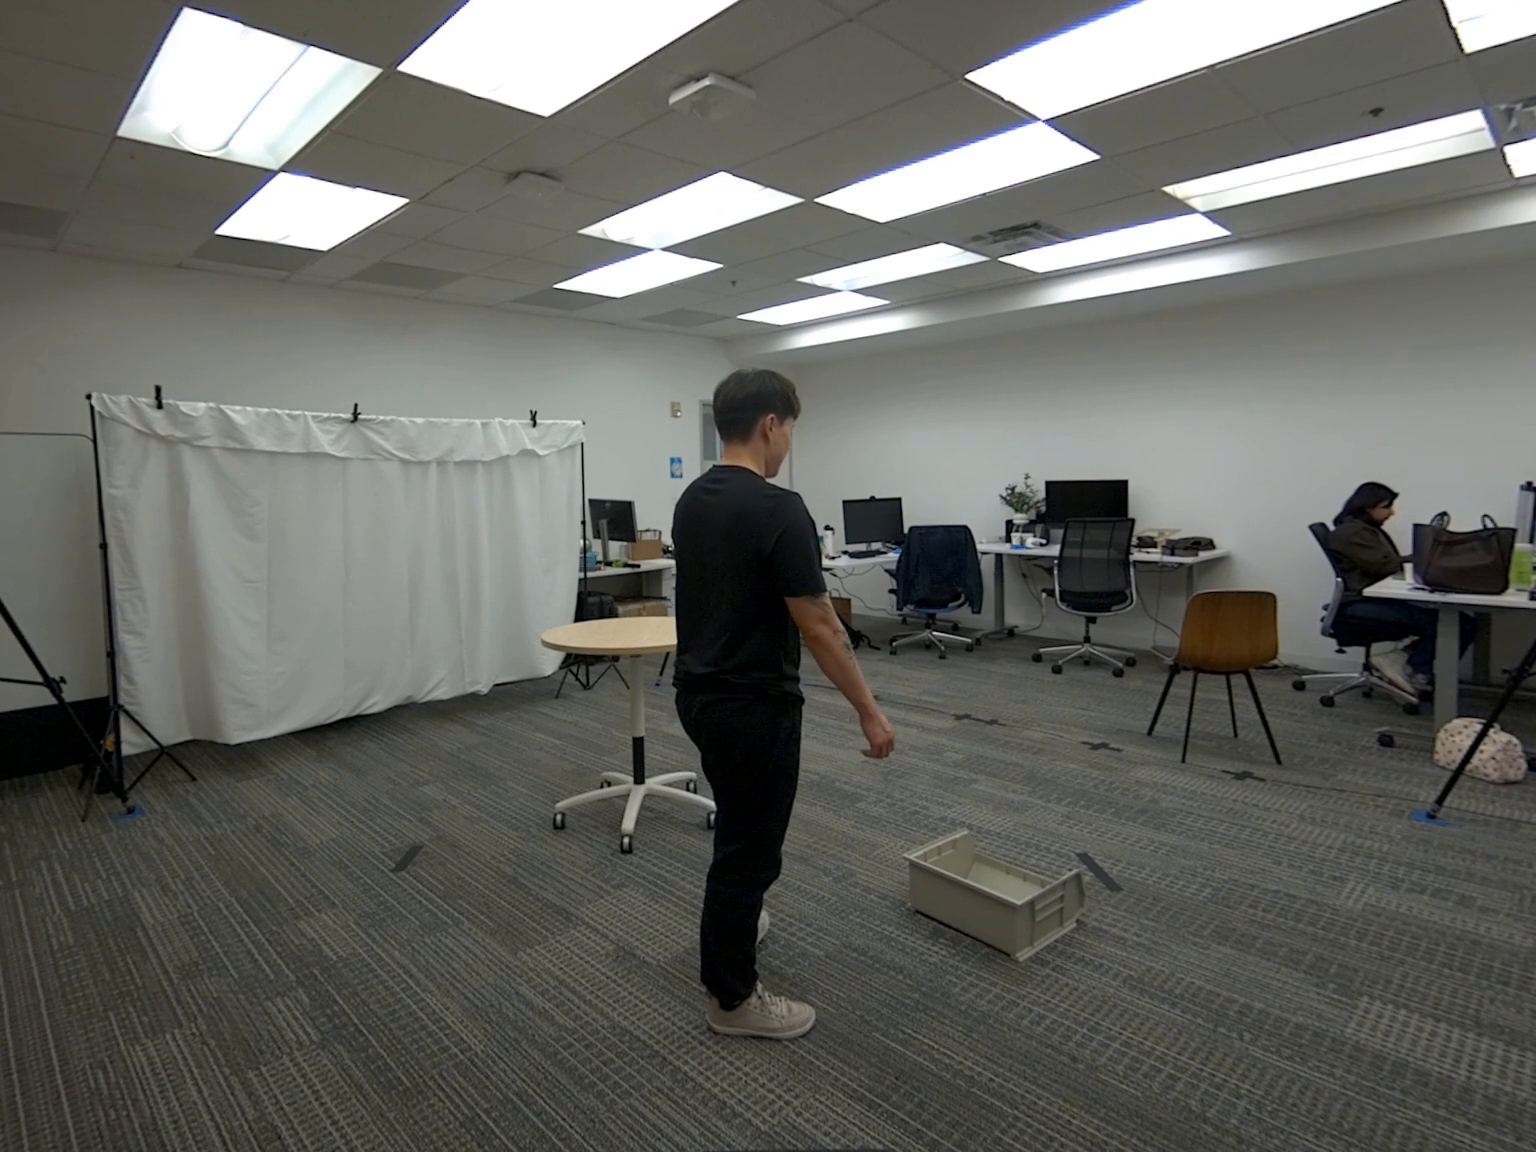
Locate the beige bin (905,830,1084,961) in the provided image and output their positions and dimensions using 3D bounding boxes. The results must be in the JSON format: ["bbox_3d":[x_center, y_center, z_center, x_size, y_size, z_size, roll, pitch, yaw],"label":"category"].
[{"bbox_3d":[0.718,0.989,2.706,0.368,0.188,0.435,-7,8,-40],"label":"beige bin"}]
